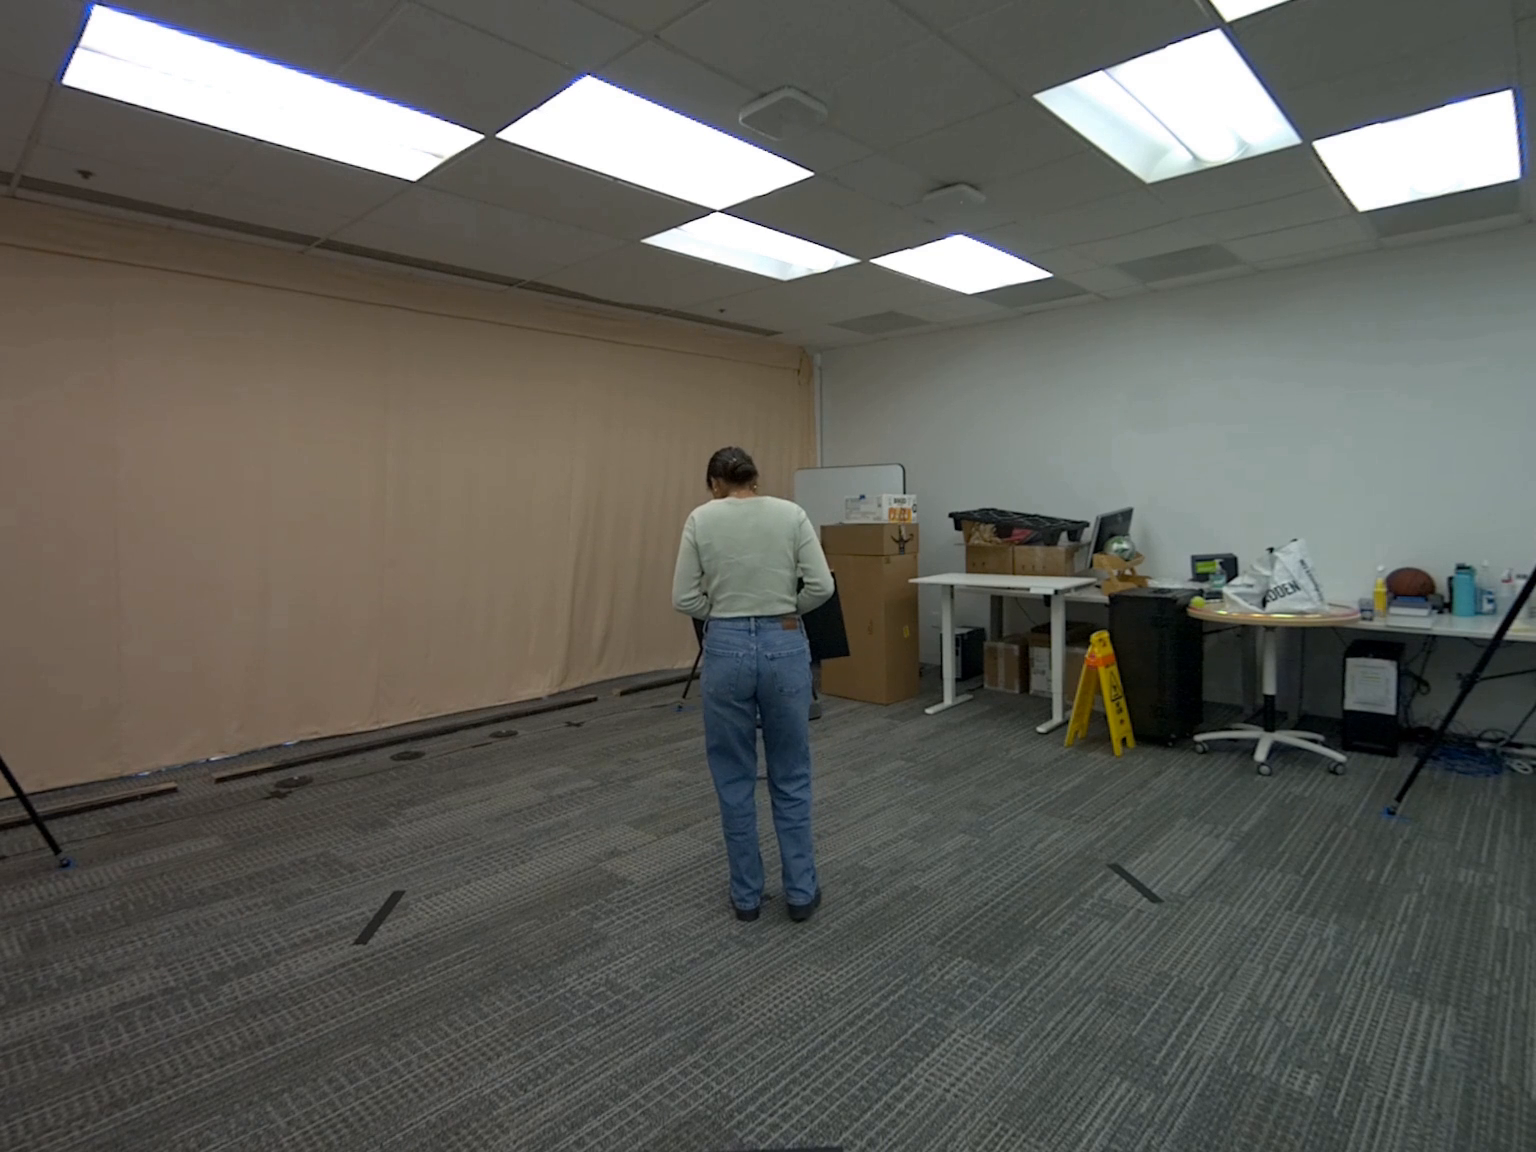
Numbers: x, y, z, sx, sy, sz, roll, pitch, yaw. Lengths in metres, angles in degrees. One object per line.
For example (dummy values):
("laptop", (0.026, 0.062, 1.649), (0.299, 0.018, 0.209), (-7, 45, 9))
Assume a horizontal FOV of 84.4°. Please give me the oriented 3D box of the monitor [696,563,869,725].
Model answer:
("monitor", (0.045, 0.260, 3.016), (0.534, 0.514, 0.173), (-9, 3, 8))
